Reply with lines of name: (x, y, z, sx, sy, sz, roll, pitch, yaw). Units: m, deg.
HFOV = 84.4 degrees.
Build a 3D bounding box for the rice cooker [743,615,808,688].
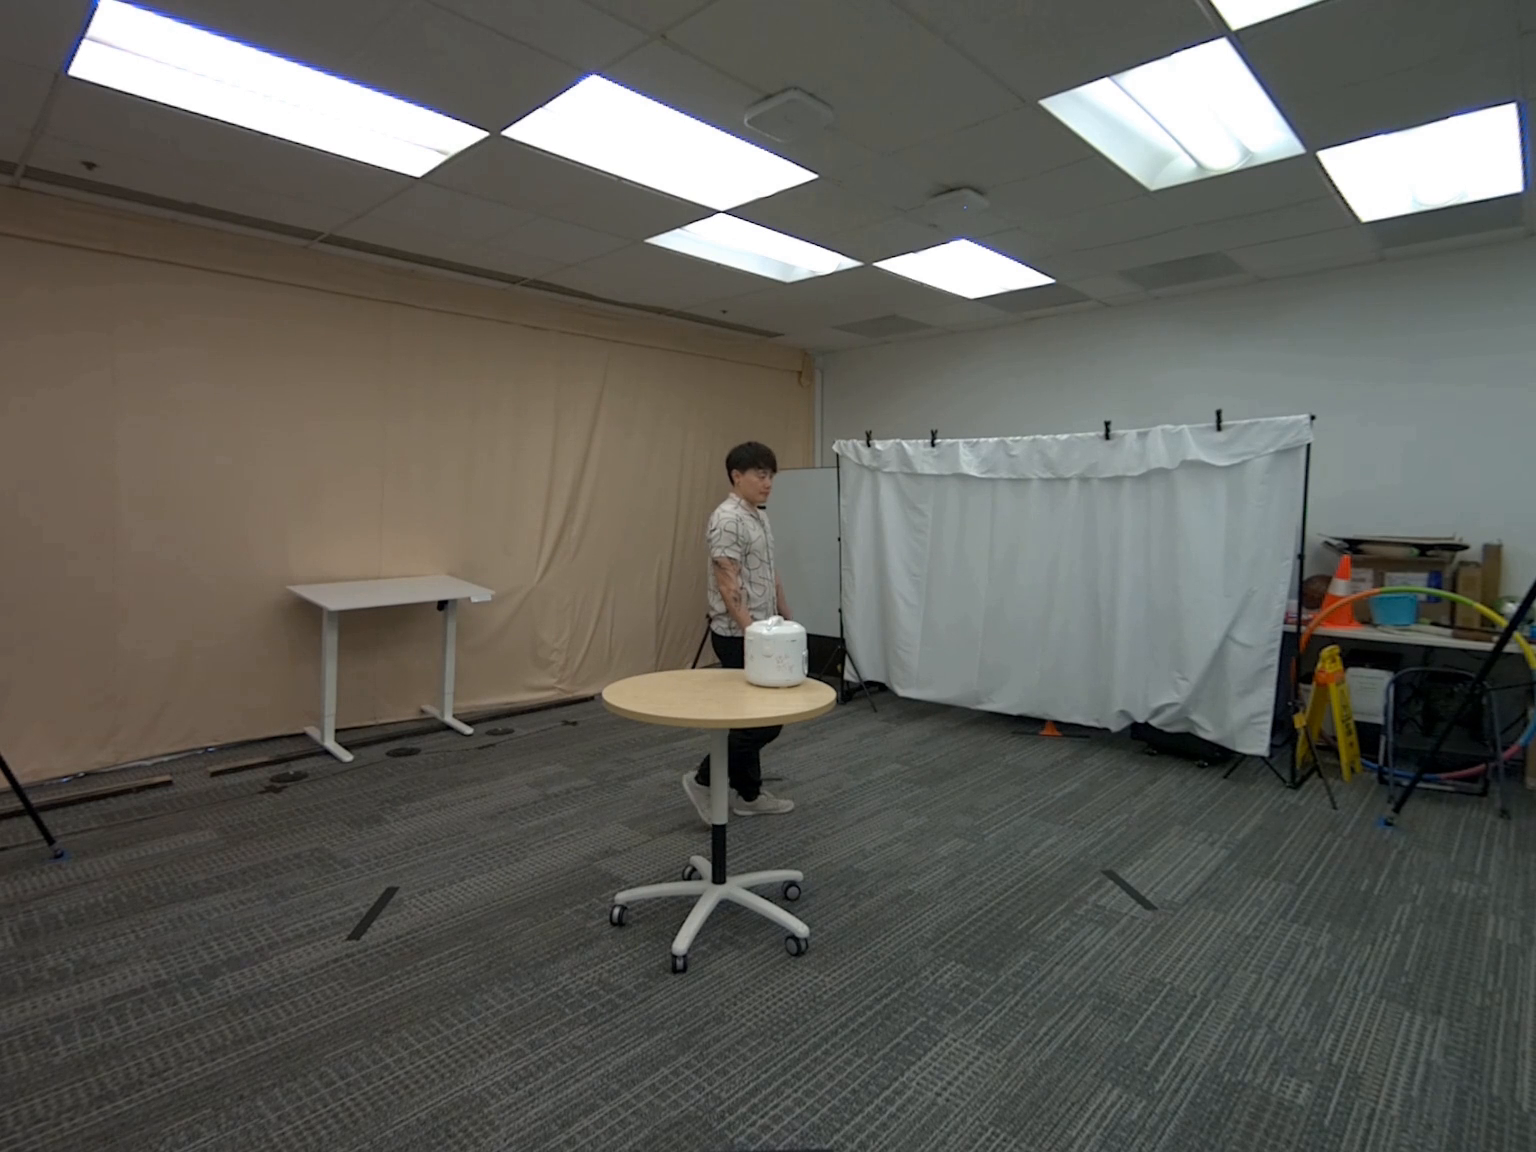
rice cooker: (0.024, 0.253, 2.893, 0.221, 0.232, 0.217, 0, 3, 17)
